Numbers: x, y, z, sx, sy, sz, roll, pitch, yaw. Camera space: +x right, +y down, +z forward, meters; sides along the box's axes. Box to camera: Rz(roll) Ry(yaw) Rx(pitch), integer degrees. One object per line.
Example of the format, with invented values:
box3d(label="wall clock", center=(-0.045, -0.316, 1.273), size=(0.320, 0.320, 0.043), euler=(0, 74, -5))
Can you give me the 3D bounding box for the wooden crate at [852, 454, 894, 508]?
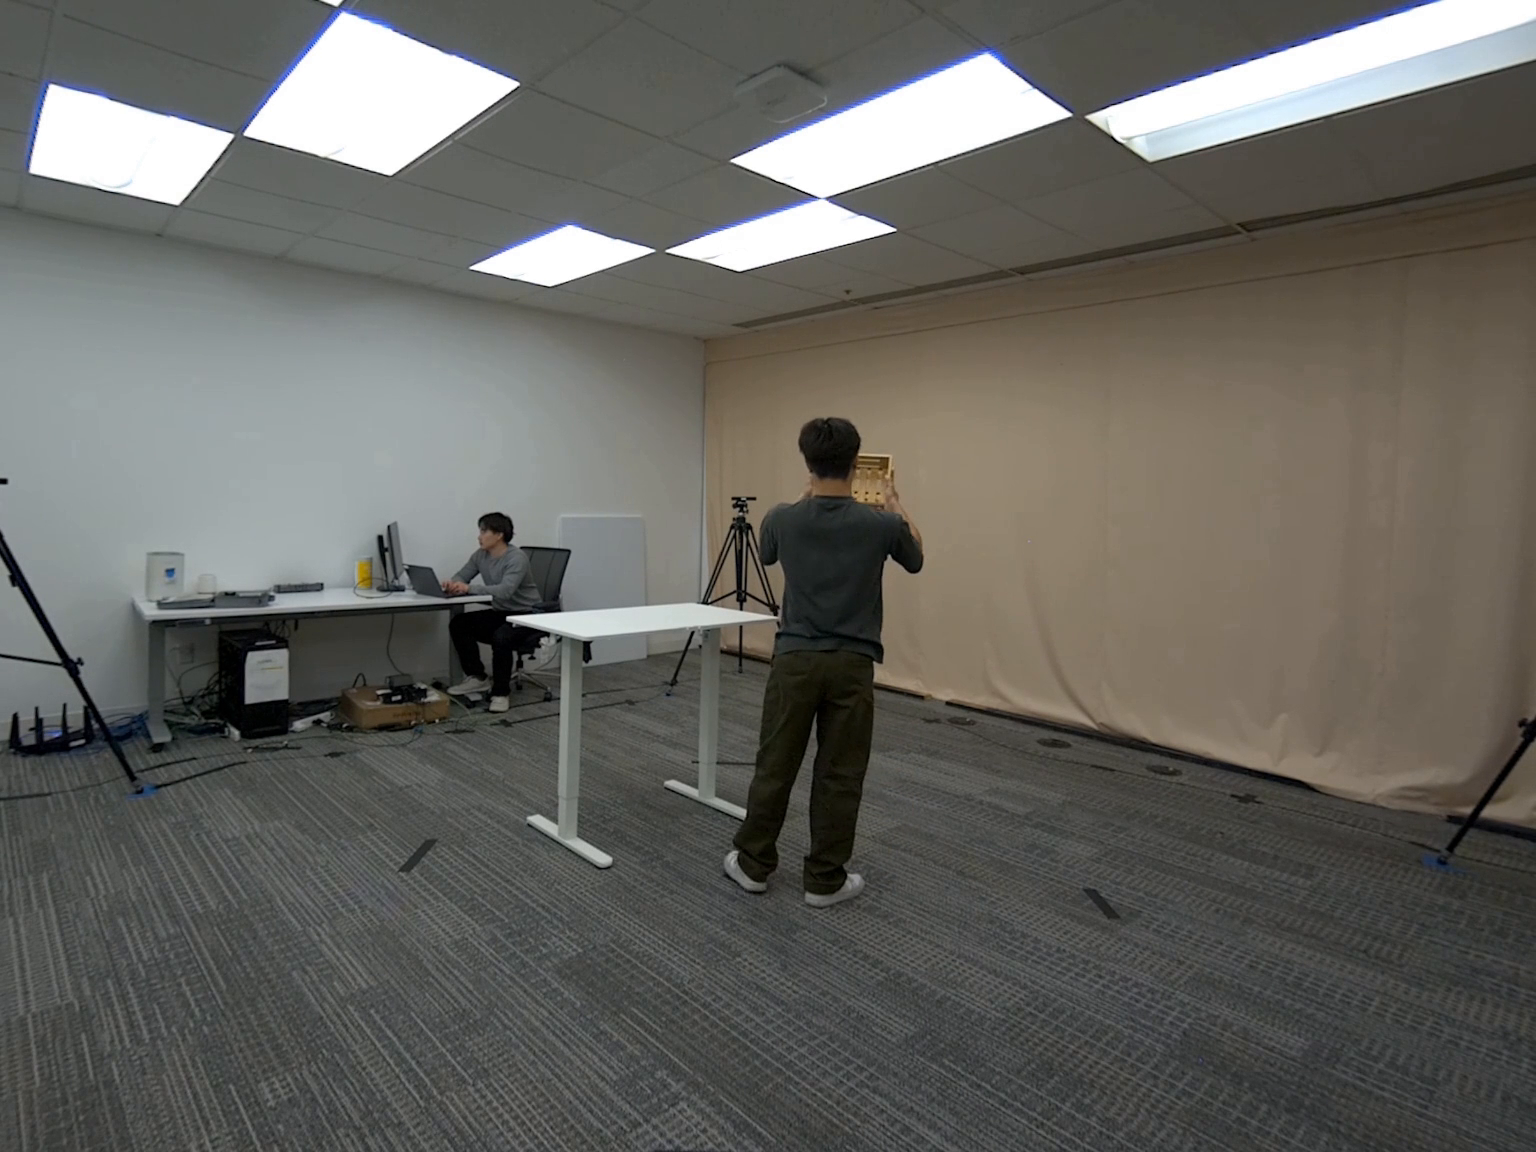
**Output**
box3d(label="wooden crate", center=(0.322, -0.281, 3.318), size=(0.328, 0.306, 0.266), euler=(4, -32, 12))
